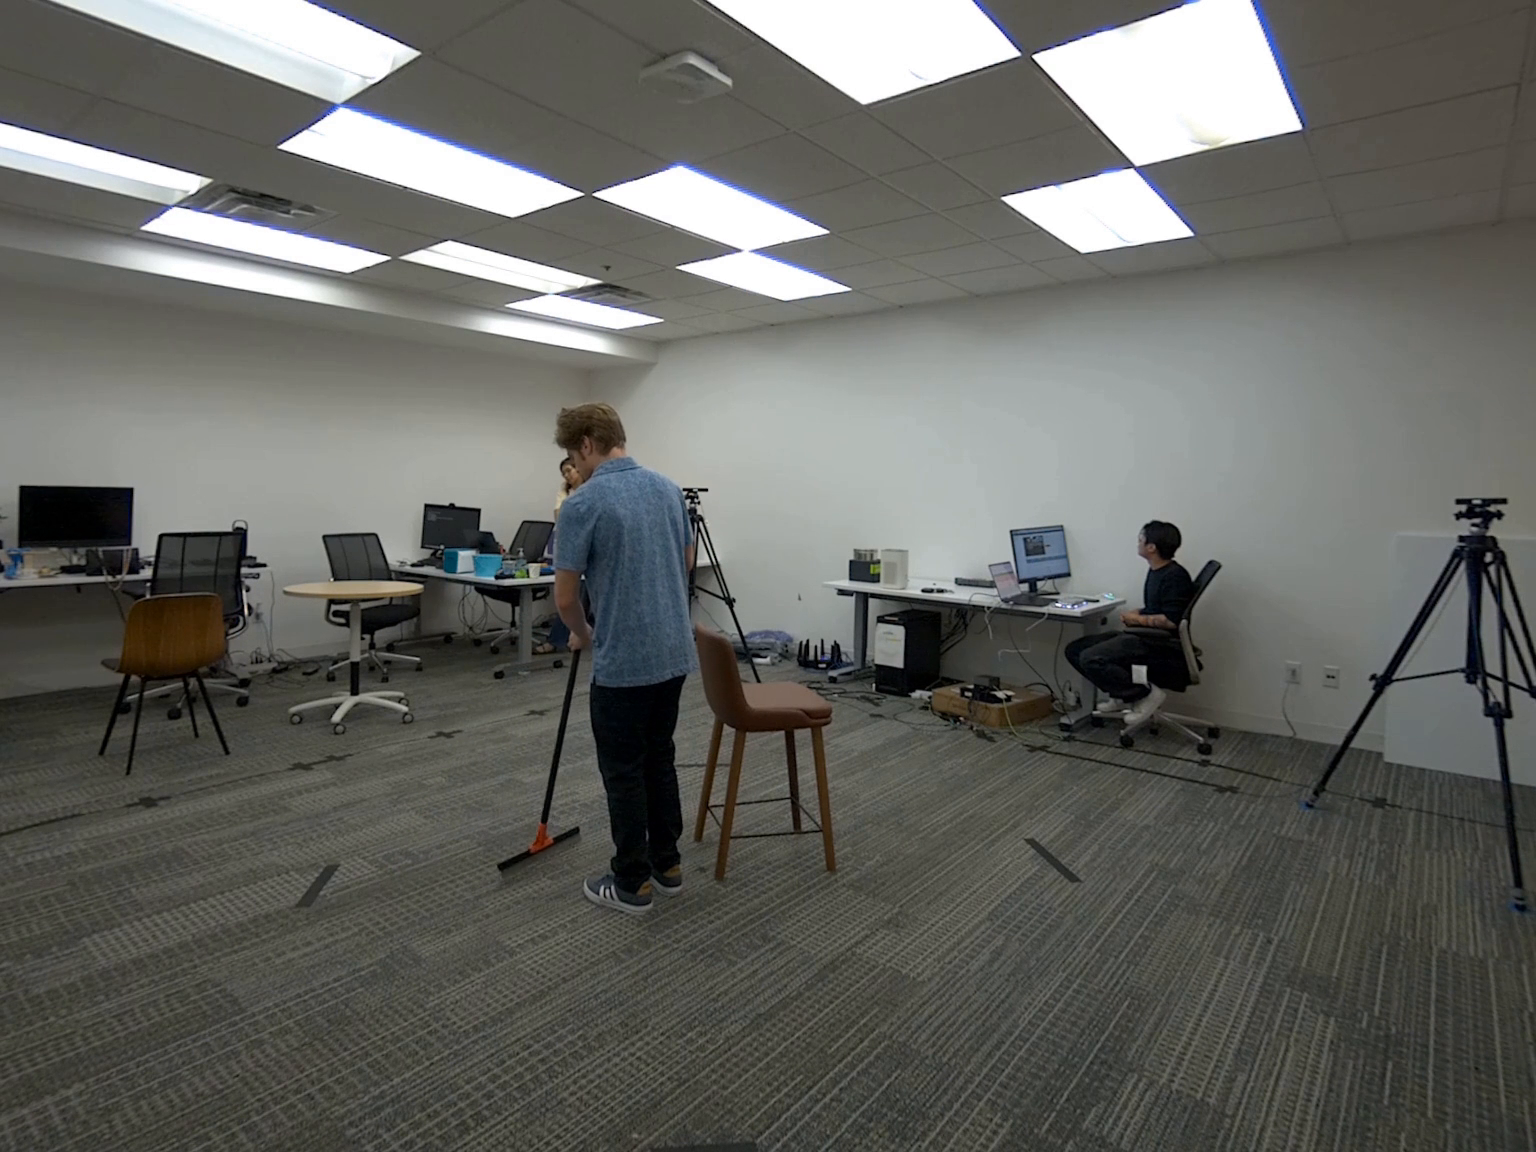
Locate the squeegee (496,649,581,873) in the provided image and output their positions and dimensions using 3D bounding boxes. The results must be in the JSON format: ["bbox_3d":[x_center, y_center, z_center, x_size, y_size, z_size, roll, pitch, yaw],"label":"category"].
[{"bbox_3d":[-0.739,0.296,3.069,0.054,1.529,0.427,12,7,25],"label":"squeegee"}]
